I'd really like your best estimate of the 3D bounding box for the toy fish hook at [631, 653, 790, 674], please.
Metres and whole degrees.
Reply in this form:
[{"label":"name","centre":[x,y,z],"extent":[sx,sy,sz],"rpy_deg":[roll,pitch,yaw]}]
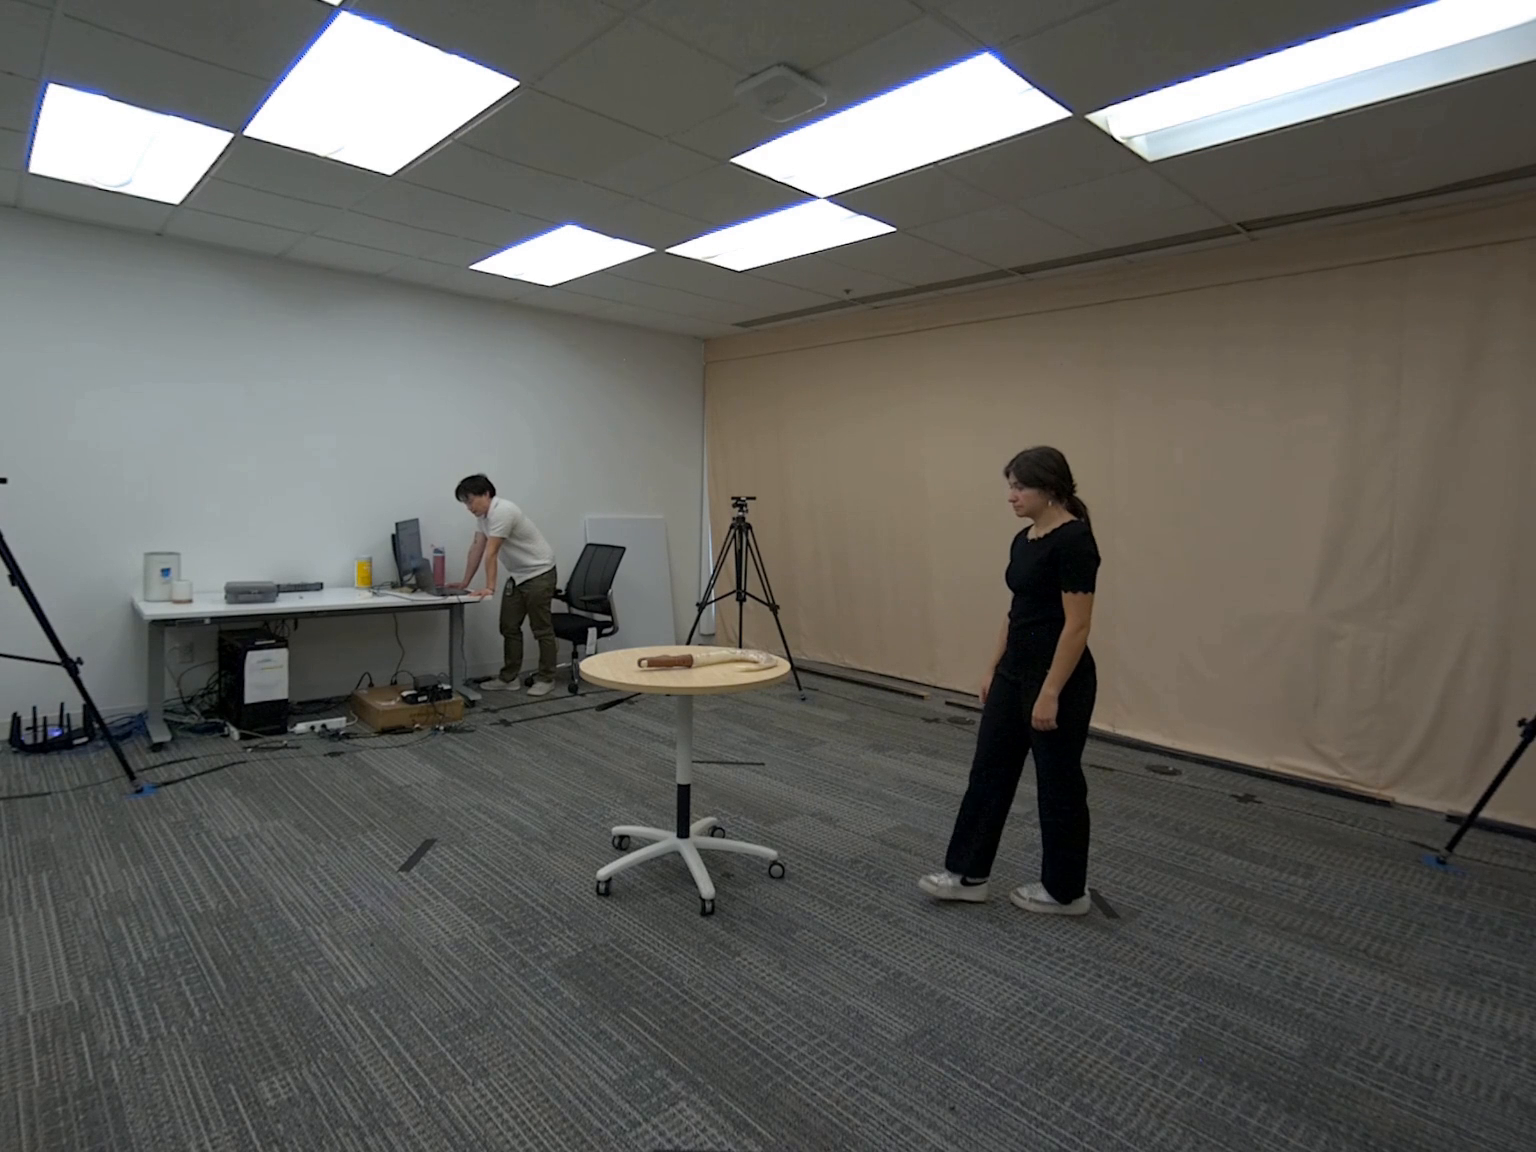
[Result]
[{"label":"toy fish hook","centre":[-0.205,0.303,2.976],"extent":[0.498,0.048,0.227],"rpy_deg":[0,-4,-24]}]
